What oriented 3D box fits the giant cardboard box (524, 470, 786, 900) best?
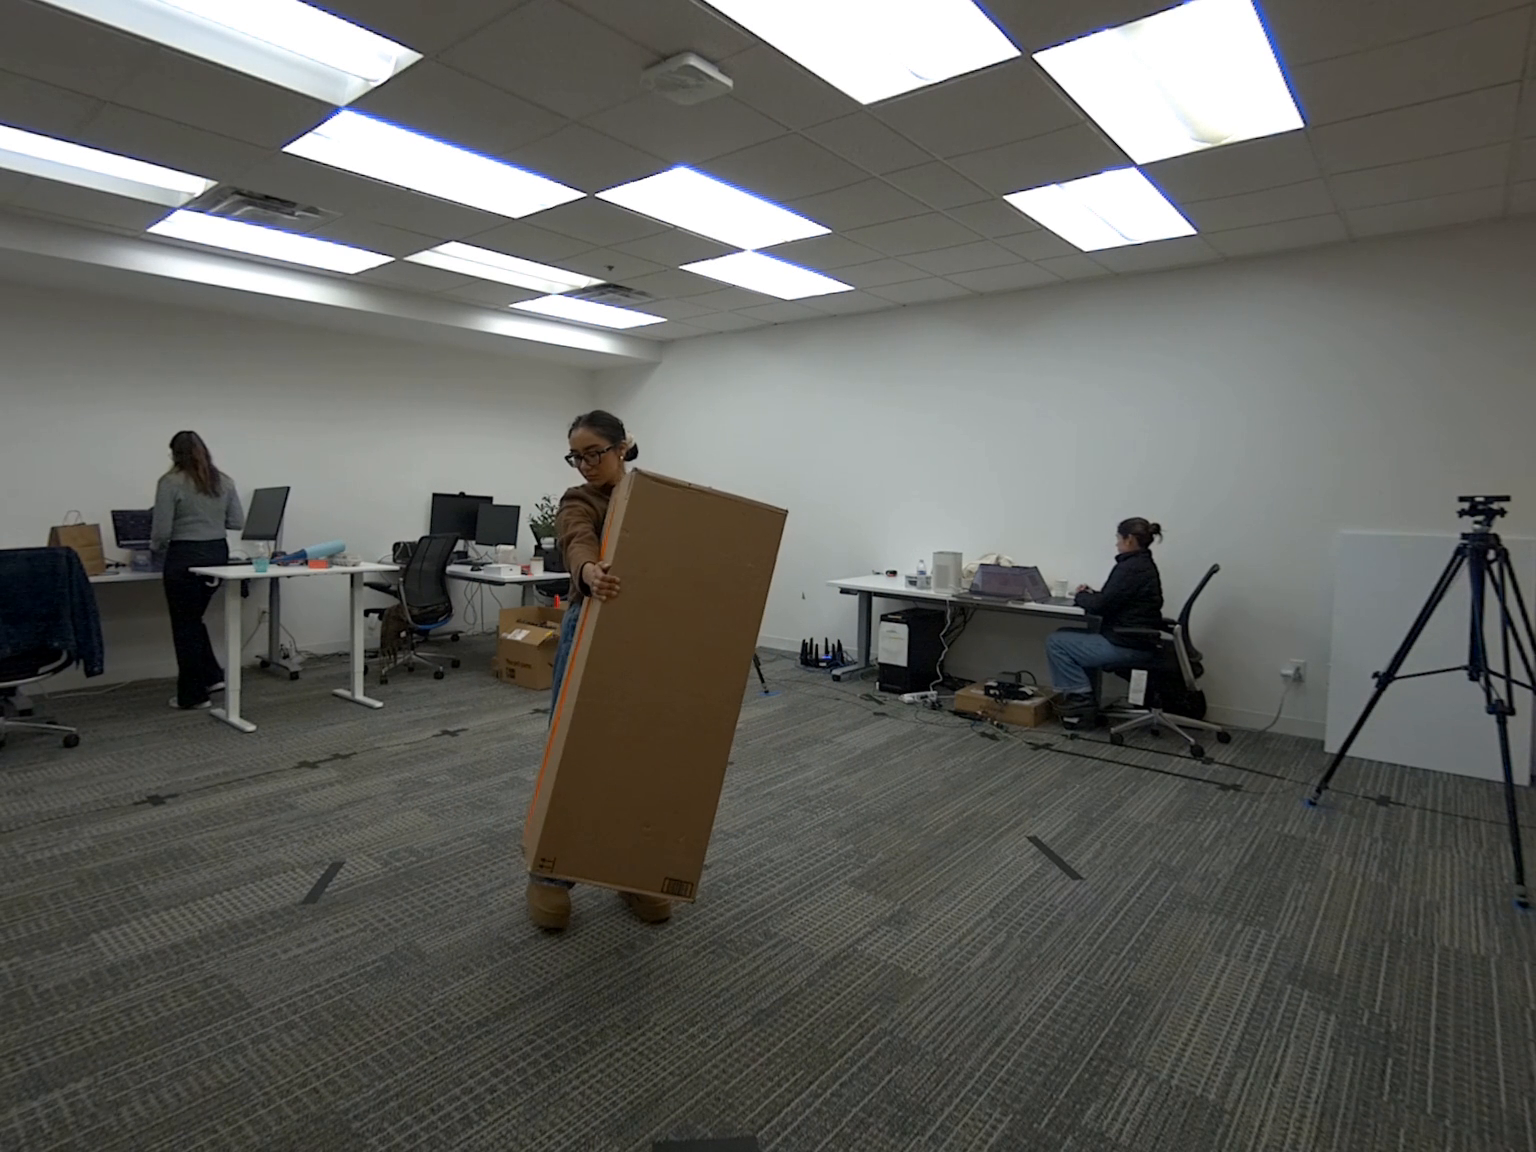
[{"bbox_3d":[-0.350,0.279,2.413,0.419,1.030,0.585,15,-6,-15],"label":"giant cardboard box"}]
